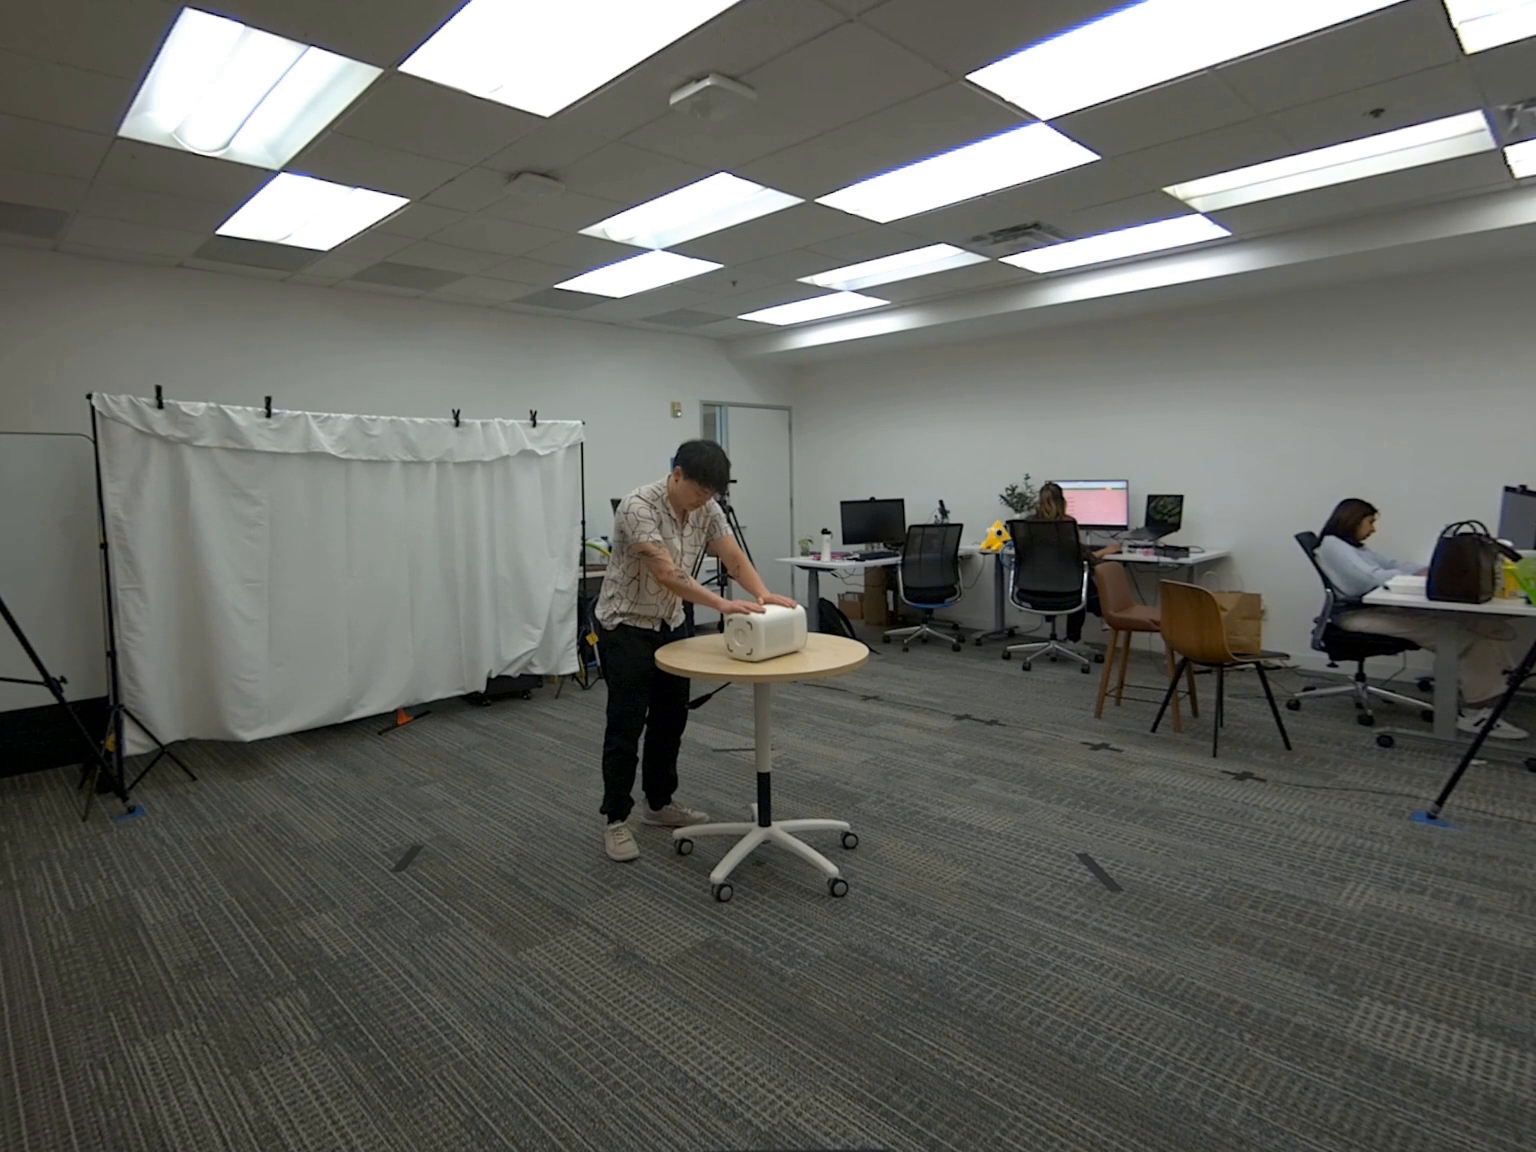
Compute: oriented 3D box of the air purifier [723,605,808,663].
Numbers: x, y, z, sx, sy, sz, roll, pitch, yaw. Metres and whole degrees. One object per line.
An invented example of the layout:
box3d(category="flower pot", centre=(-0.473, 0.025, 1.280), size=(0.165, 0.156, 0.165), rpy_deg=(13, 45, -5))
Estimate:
box3d(category="air purifier", centre=(-0.014, 0.191, 2.981), size=(0.176, 0.171, 0.258), rpy_deg=(3, 7, 42))
